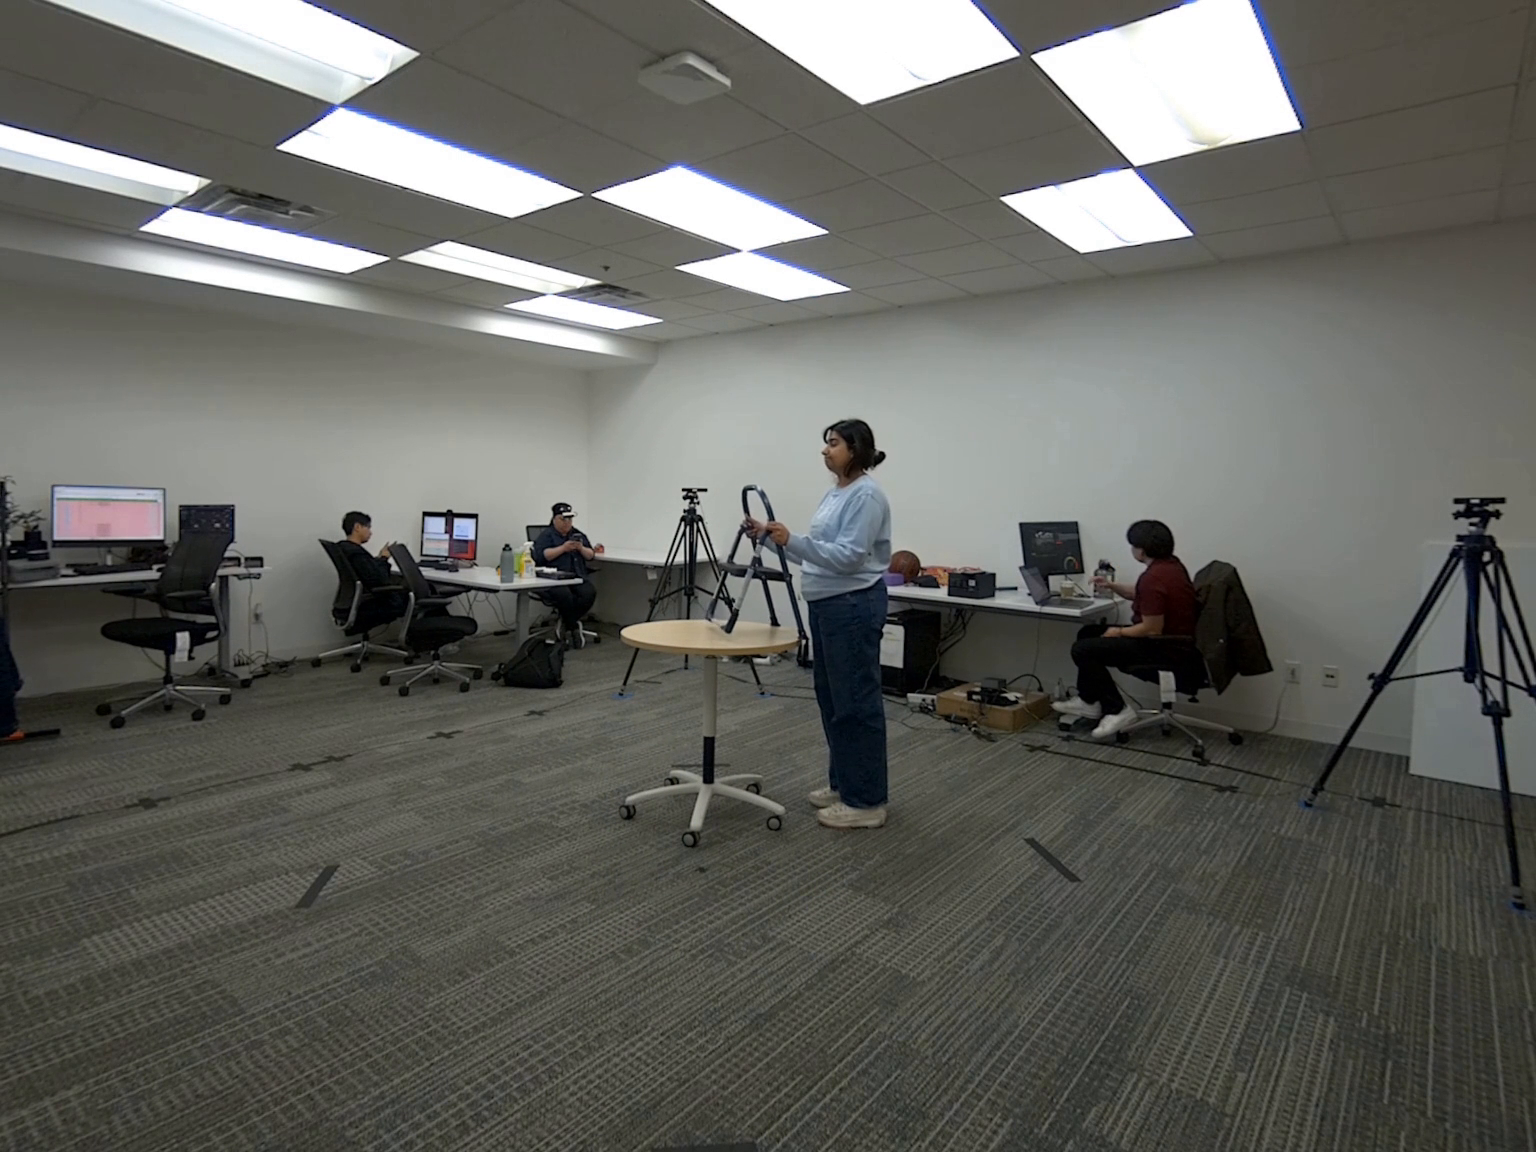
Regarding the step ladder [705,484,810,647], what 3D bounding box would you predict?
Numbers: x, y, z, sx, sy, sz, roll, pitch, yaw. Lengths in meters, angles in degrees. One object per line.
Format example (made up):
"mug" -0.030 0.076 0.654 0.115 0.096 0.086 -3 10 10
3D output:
"step ladder" -0.041 -0.081 3.609 0.344 0.605 0.438 5 2 -15
